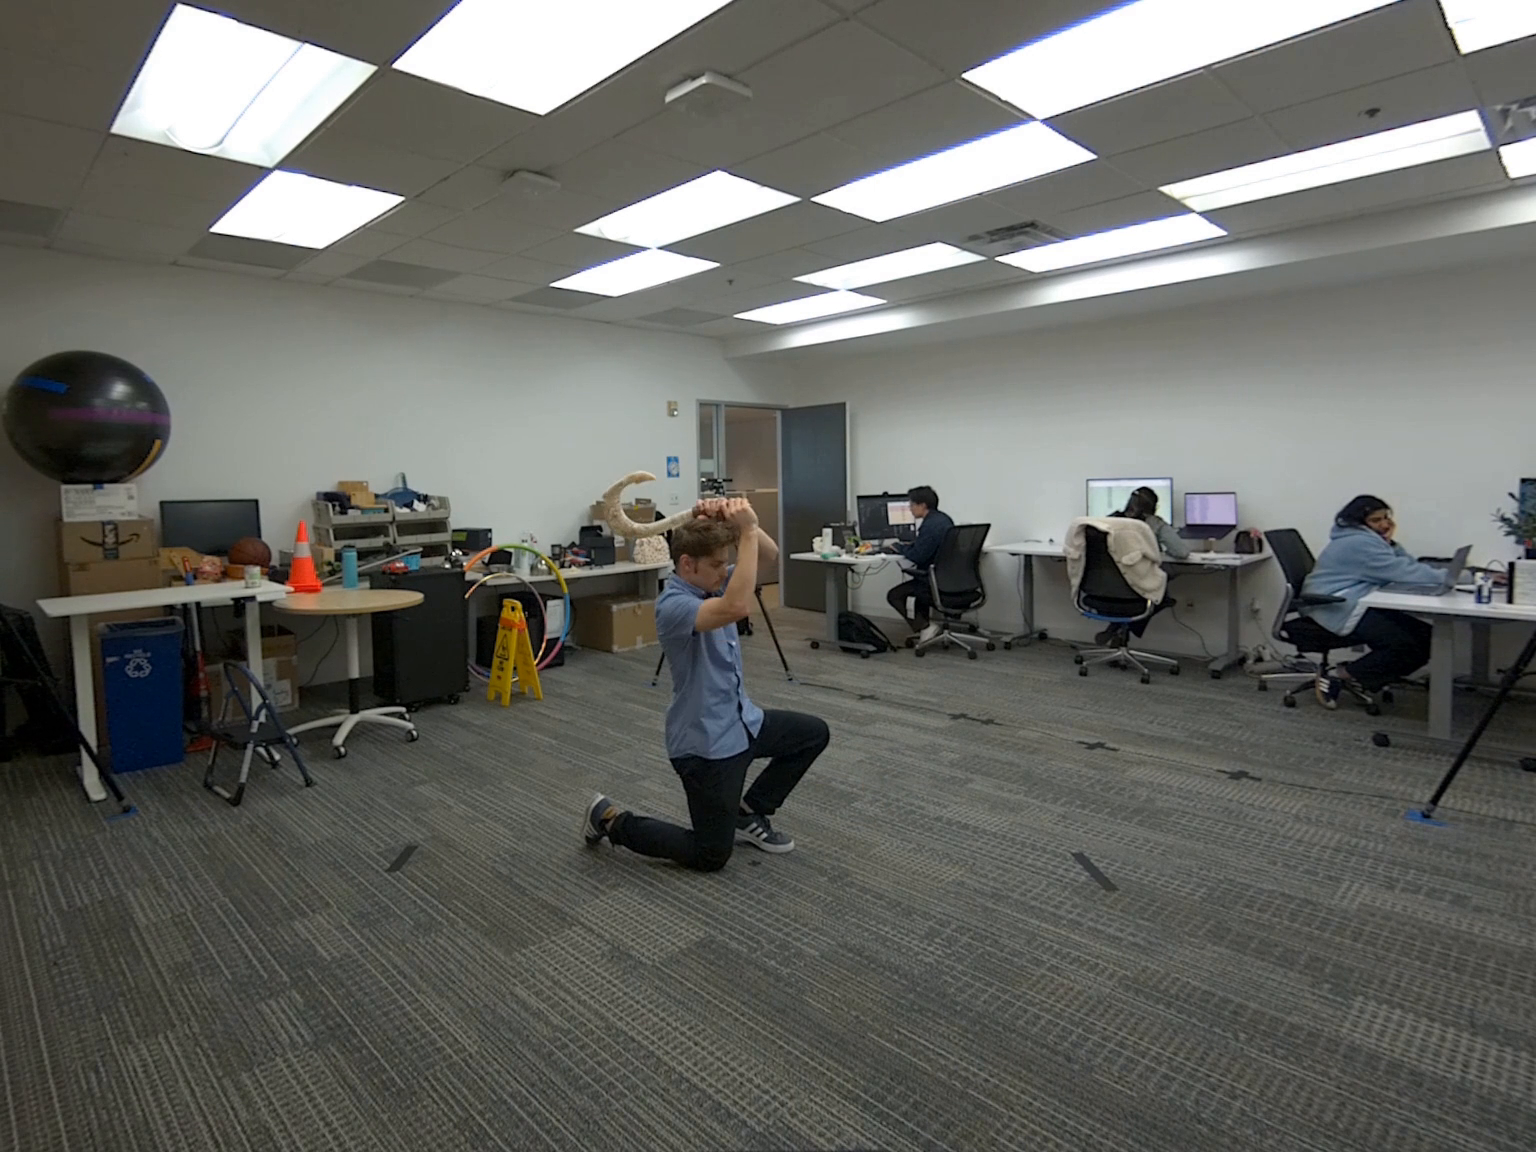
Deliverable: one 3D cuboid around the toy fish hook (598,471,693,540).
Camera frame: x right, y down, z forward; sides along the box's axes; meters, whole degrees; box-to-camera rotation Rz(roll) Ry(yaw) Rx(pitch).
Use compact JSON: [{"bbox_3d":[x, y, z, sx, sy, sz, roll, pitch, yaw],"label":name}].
[{"bbox_3d":[-0.293,-0.242,2.843,0.512,0.222,0.048,-5,11,12],"label":"toy fish hook"}]
